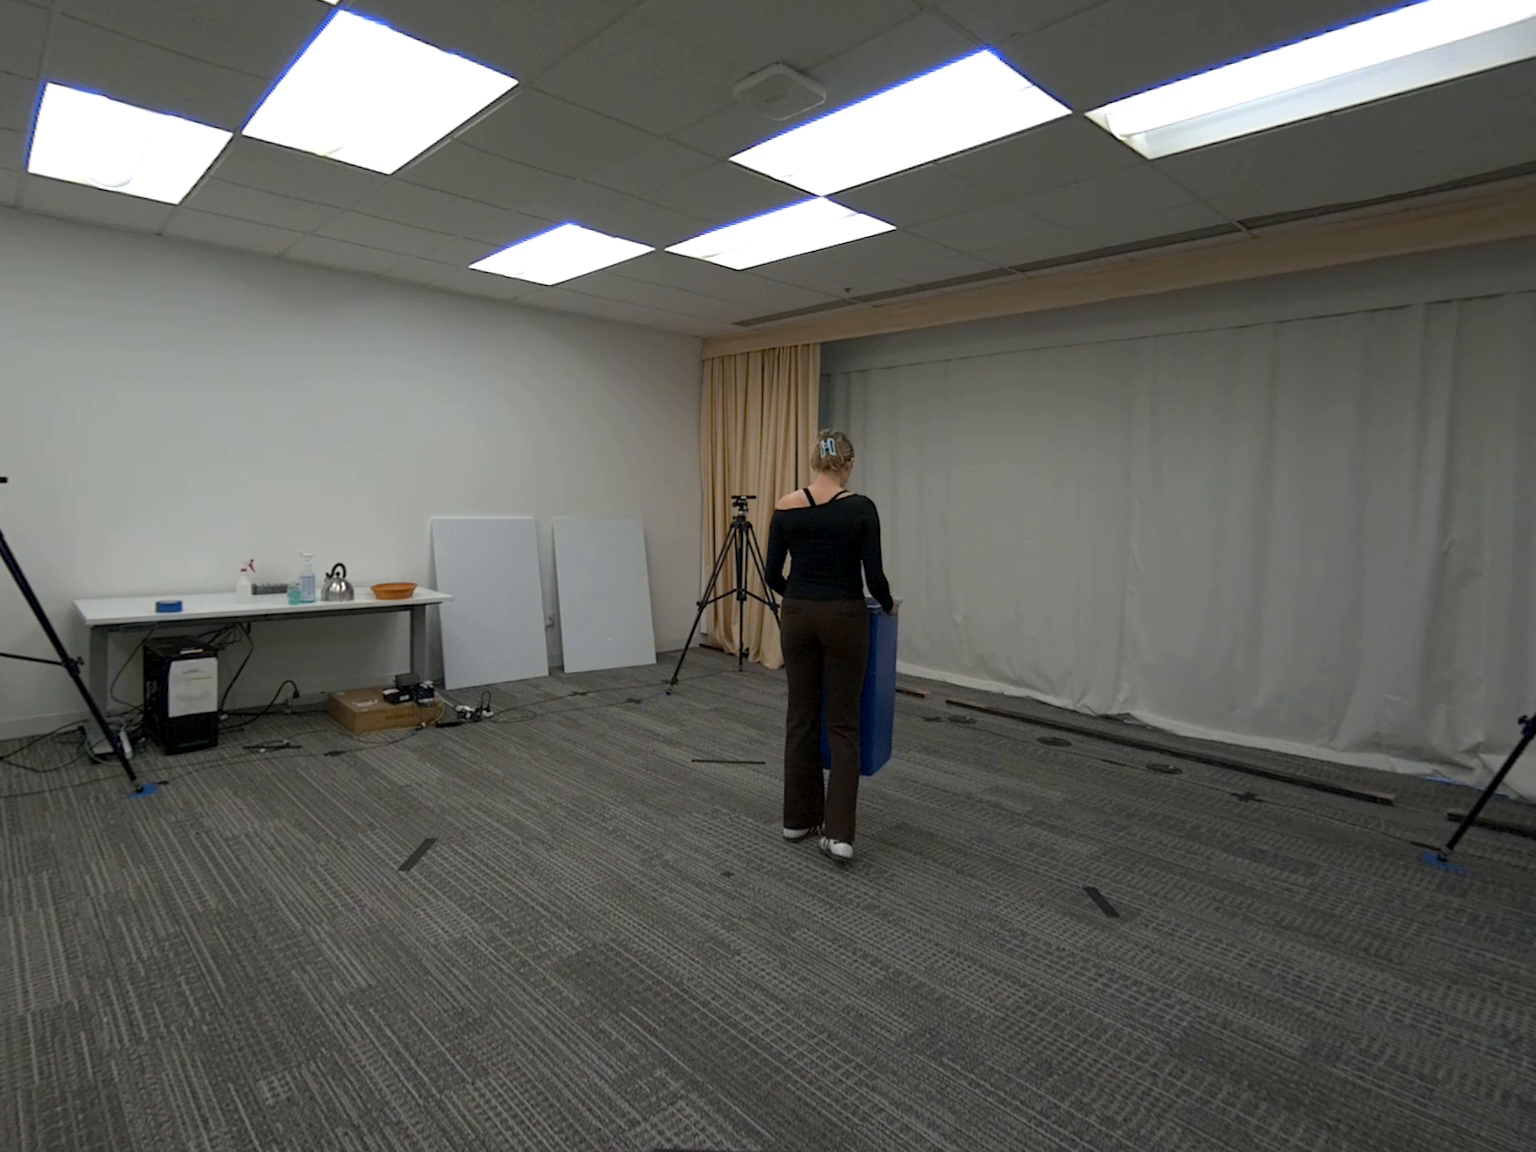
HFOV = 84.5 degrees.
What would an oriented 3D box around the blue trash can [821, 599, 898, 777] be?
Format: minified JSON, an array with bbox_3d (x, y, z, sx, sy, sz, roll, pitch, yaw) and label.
[{"bbox_3d":[0.349,0.461,3.658,0.381,0.712,0.371,4,4,25],"label":"blue trash can"}]
